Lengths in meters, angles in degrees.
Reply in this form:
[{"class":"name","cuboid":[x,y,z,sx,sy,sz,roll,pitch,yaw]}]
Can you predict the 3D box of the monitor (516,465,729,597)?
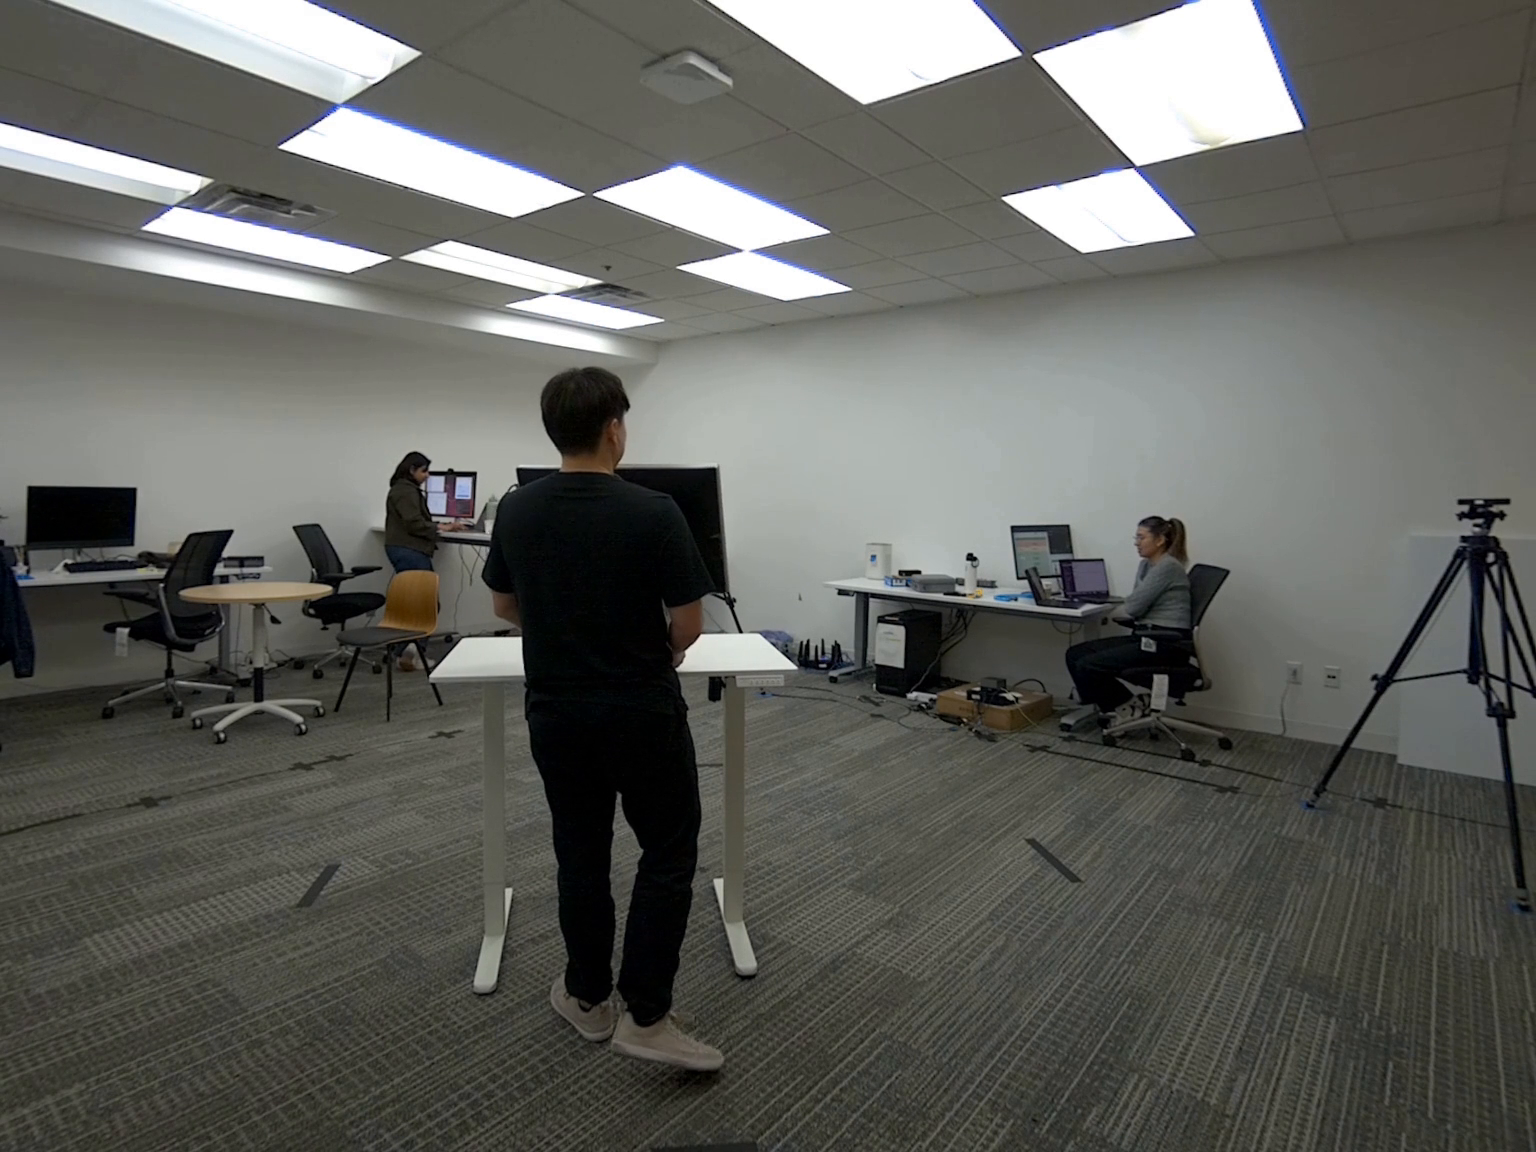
[{"class":"monitor","cuboid":[-0.400,-0.027,2.285,0.546,0.516,0.187,2,14,11]}]
